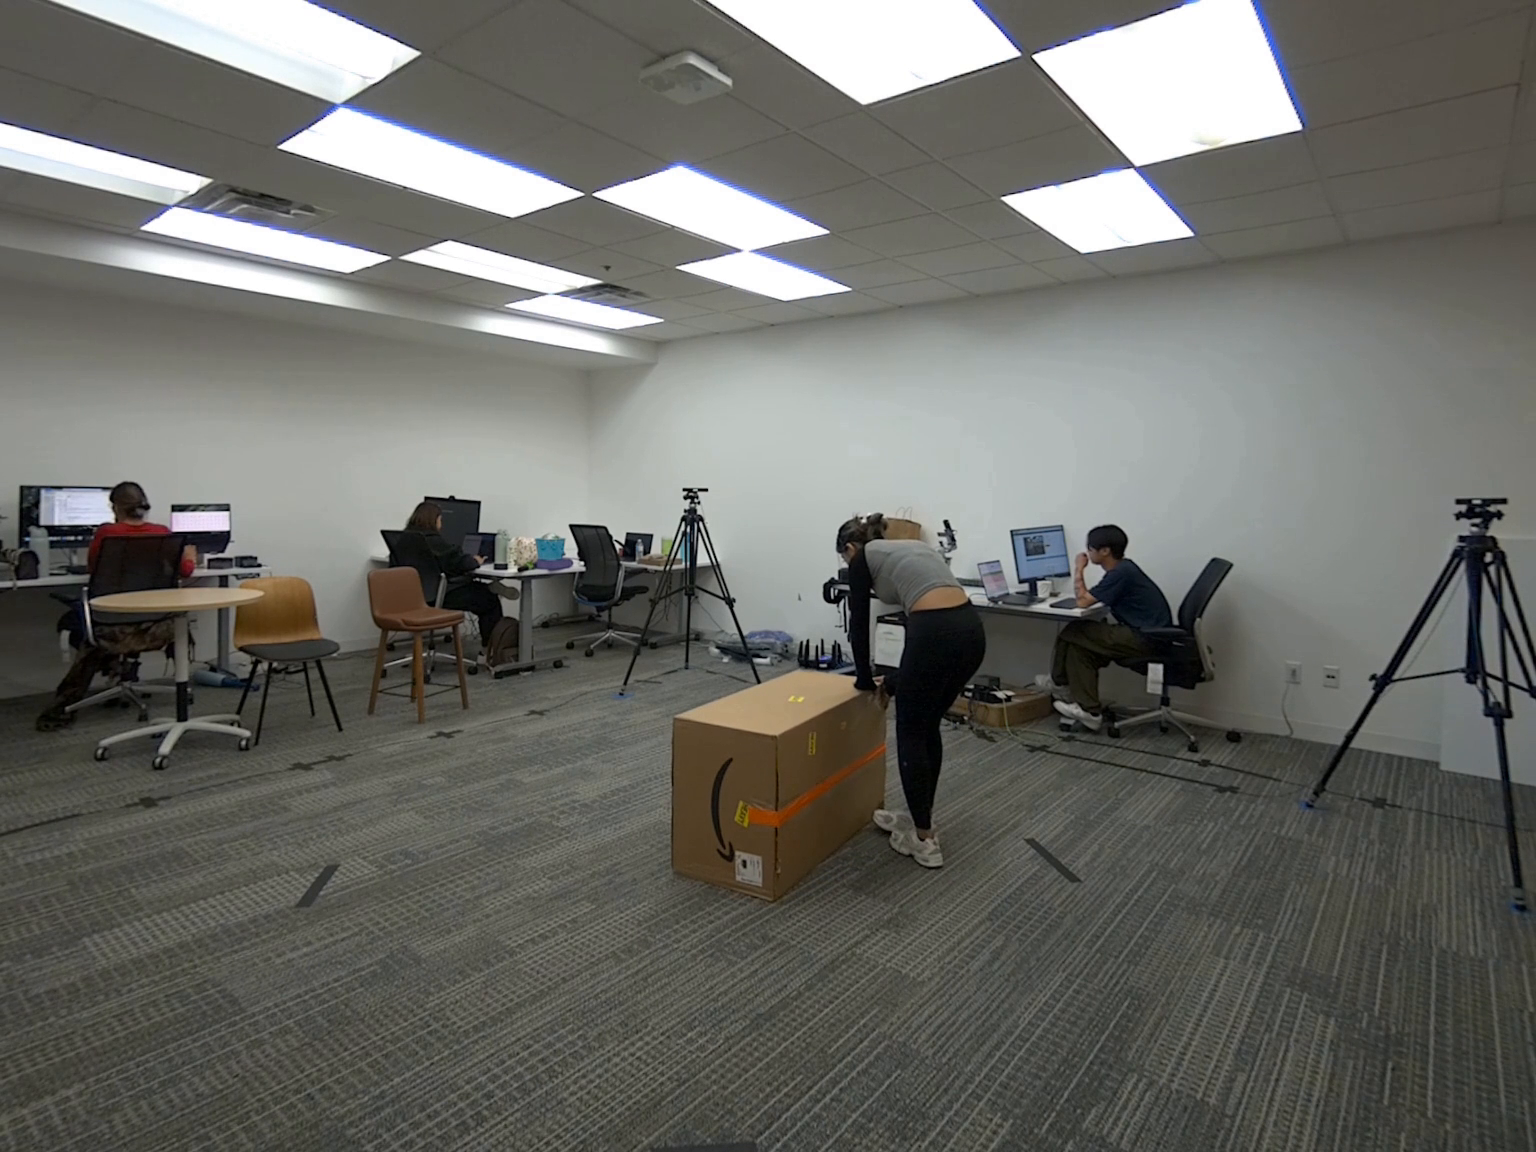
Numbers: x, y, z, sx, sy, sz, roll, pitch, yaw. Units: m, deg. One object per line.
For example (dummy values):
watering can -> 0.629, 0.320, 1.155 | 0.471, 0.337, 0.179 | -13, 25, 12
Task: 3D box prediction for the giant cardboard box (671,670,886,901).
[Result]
giant cardboard box -> 0.073, 0.762, 3.380 | 0.460, 0.581, 1.002 | 4, 6, 29
